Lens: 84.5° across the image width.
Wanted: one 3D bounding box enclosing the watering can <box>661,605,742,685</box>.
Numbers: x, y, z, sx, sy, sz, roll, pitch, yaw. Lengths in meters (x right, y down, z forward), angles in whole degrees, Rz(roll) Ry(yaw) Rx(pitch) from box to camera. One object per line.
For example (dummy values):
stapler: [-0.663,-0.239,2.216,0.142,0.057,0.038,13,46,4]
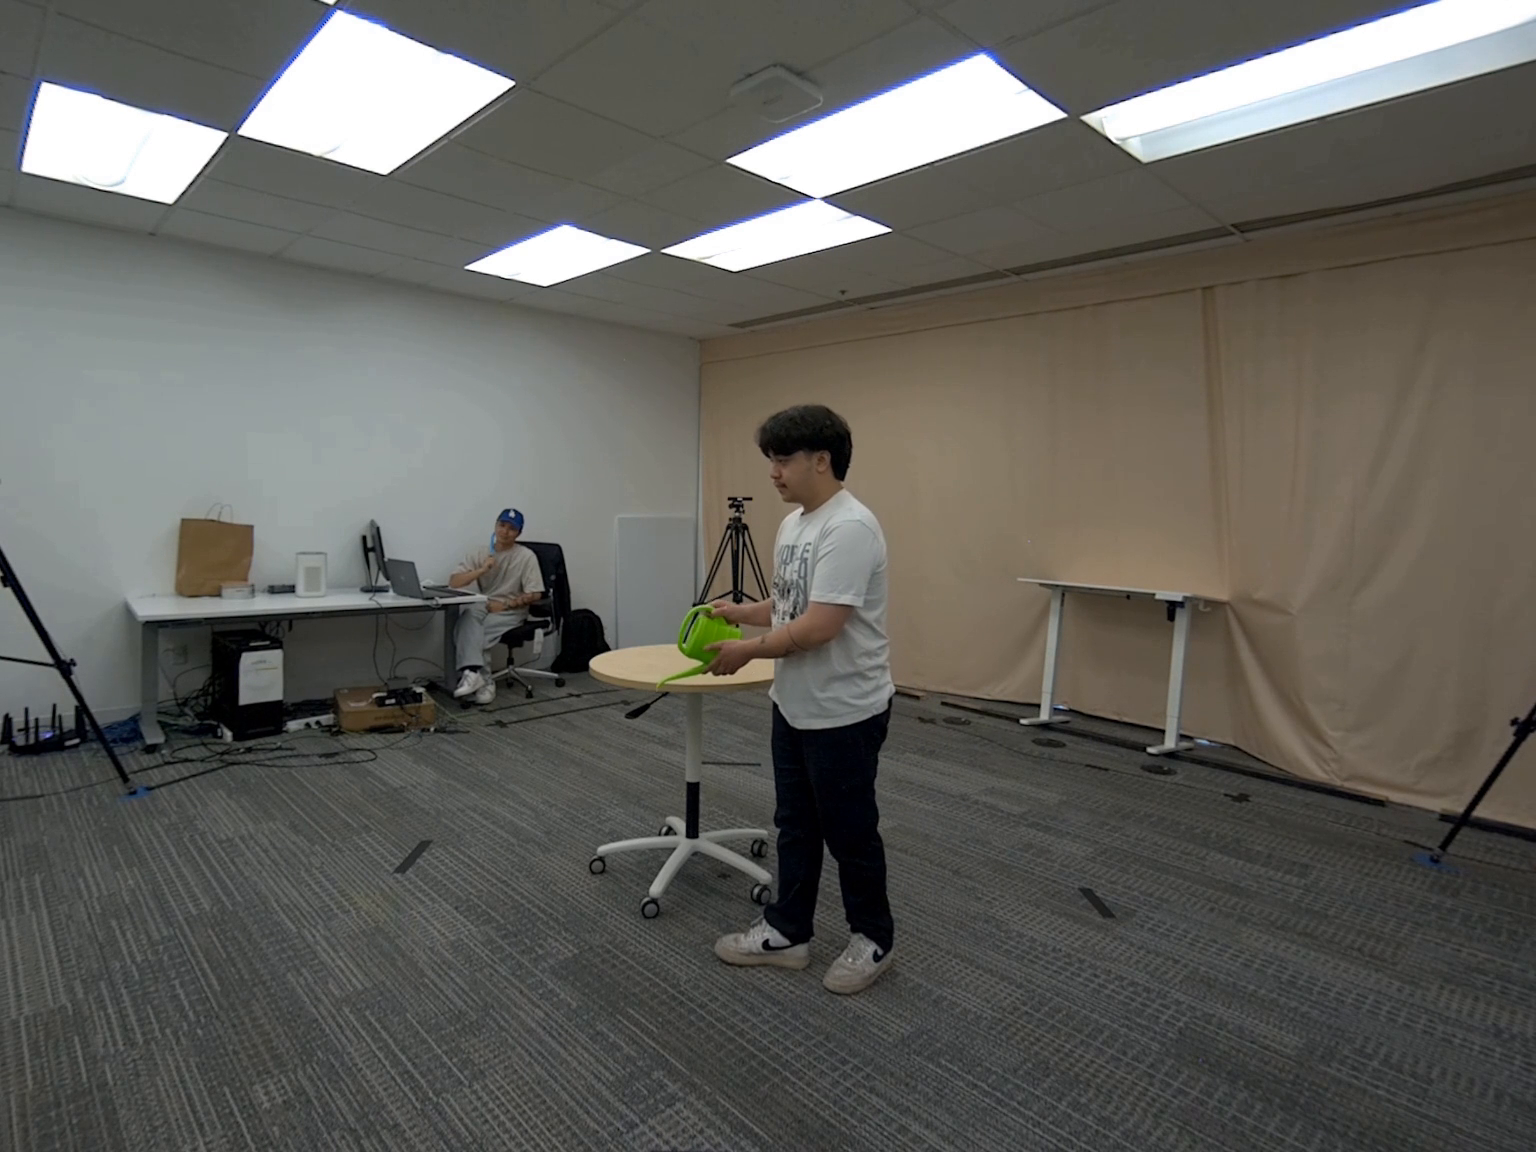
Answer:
watering can: [-0.196,0.230,2.454,0.175,0.277,0.099,24,10,-12]
